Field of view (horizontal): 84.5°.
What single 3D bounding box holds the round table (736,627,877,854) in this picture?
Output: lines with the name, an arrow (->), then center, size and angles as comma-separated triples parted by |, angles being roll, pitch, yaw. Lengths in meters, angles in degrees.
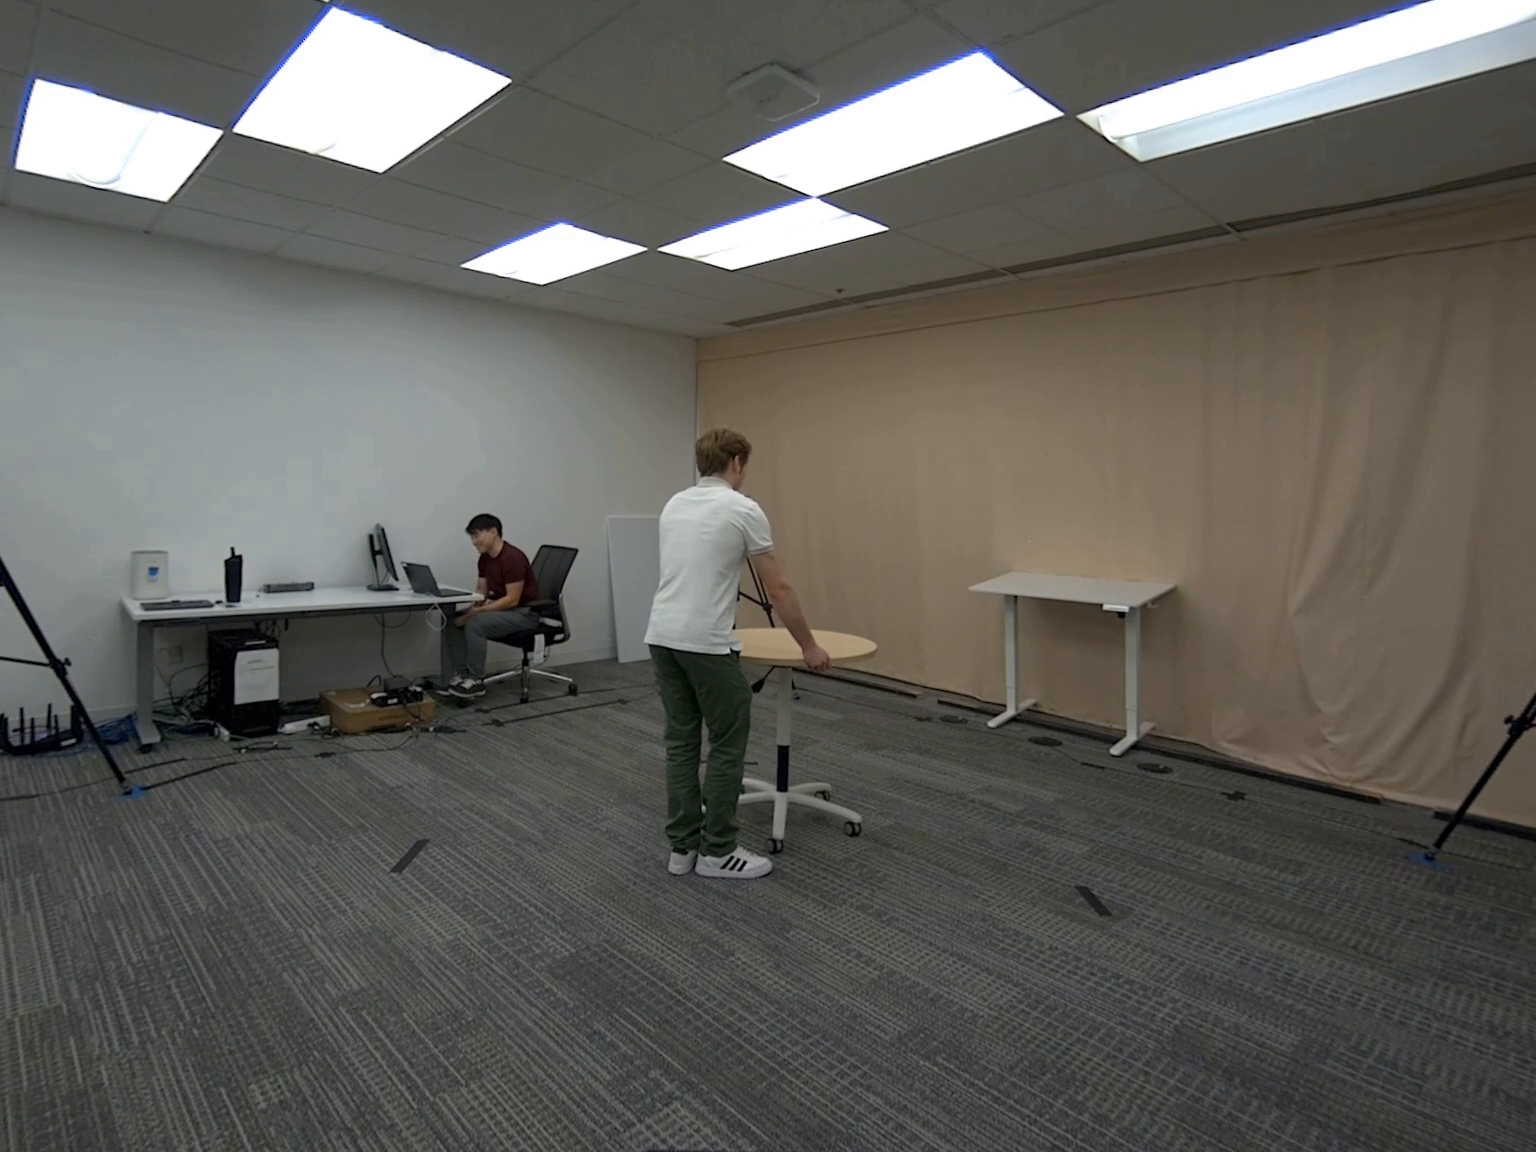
round table -> 0.061, 0.678, 3.606 | 0.763, 0.792, 0.766 | 2, 4, -1
